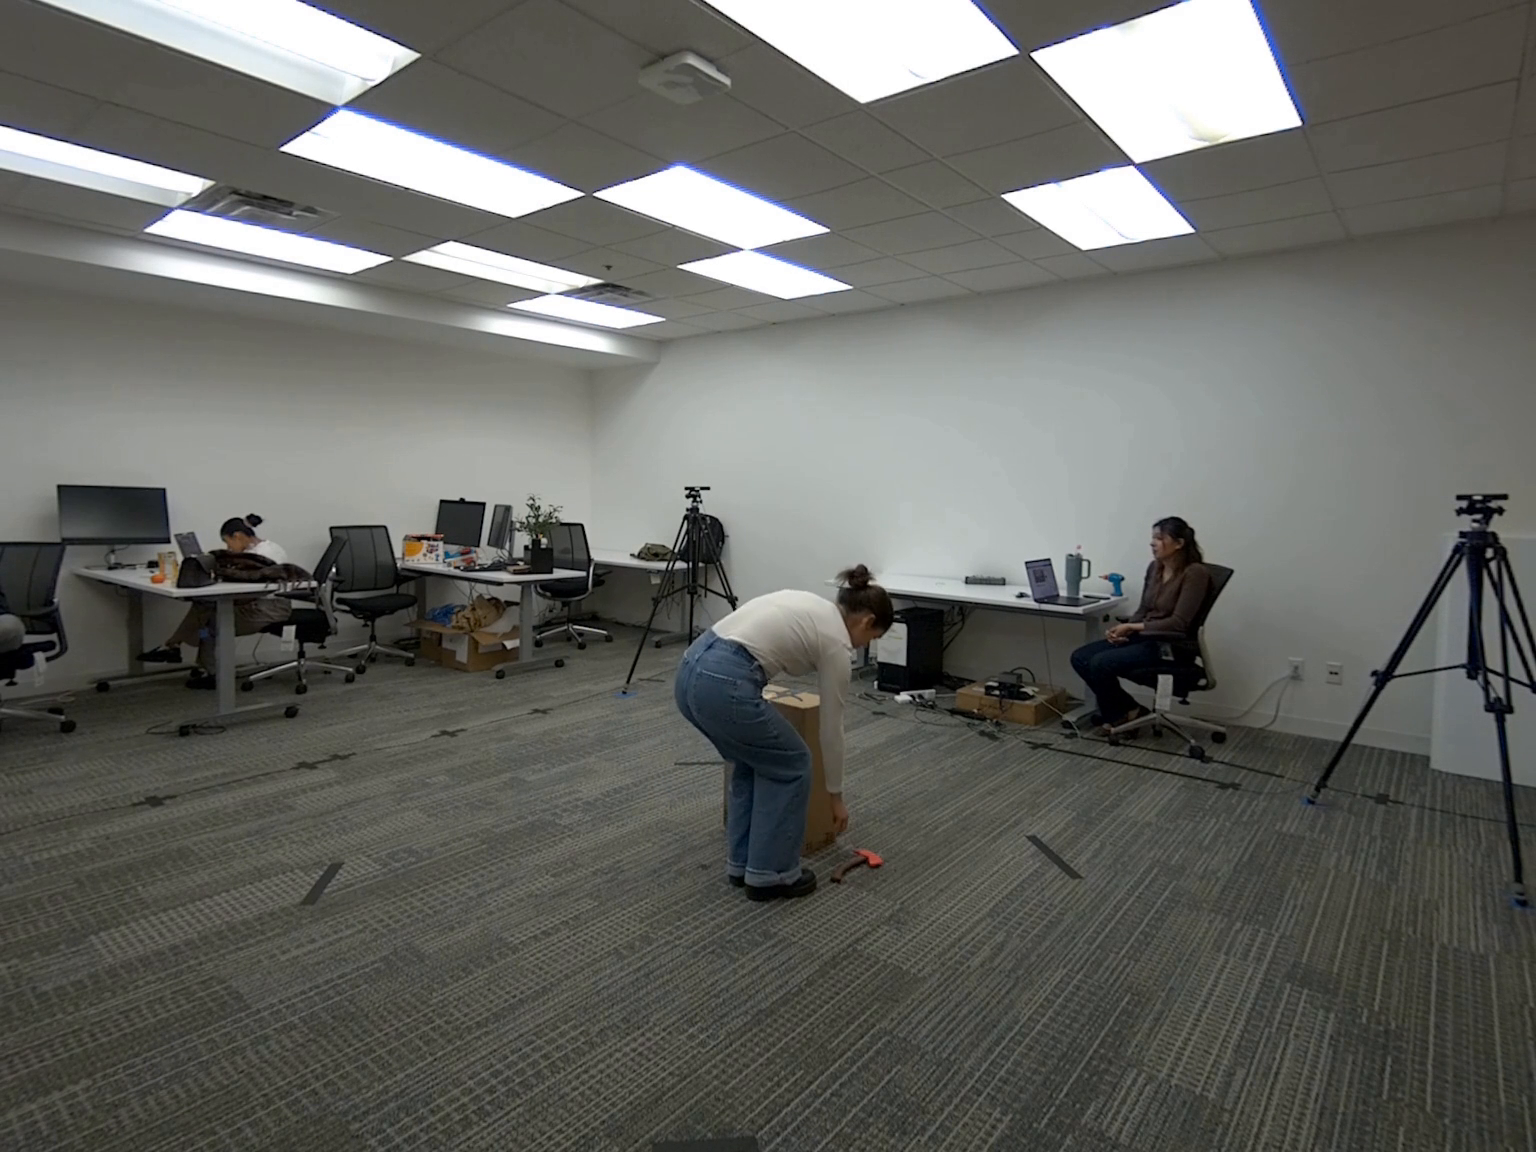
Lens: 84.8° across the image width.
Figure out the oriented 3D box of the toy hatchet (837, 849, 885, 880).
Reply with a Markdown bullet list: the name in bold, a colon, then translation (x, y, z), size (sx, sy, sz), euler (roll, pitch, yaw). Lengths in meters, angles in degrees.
- **toy hatchet**: translation (0.323, 1.066, 3.104), size (0.135, 0.029, 0.264), euler (5, 8, 26)
